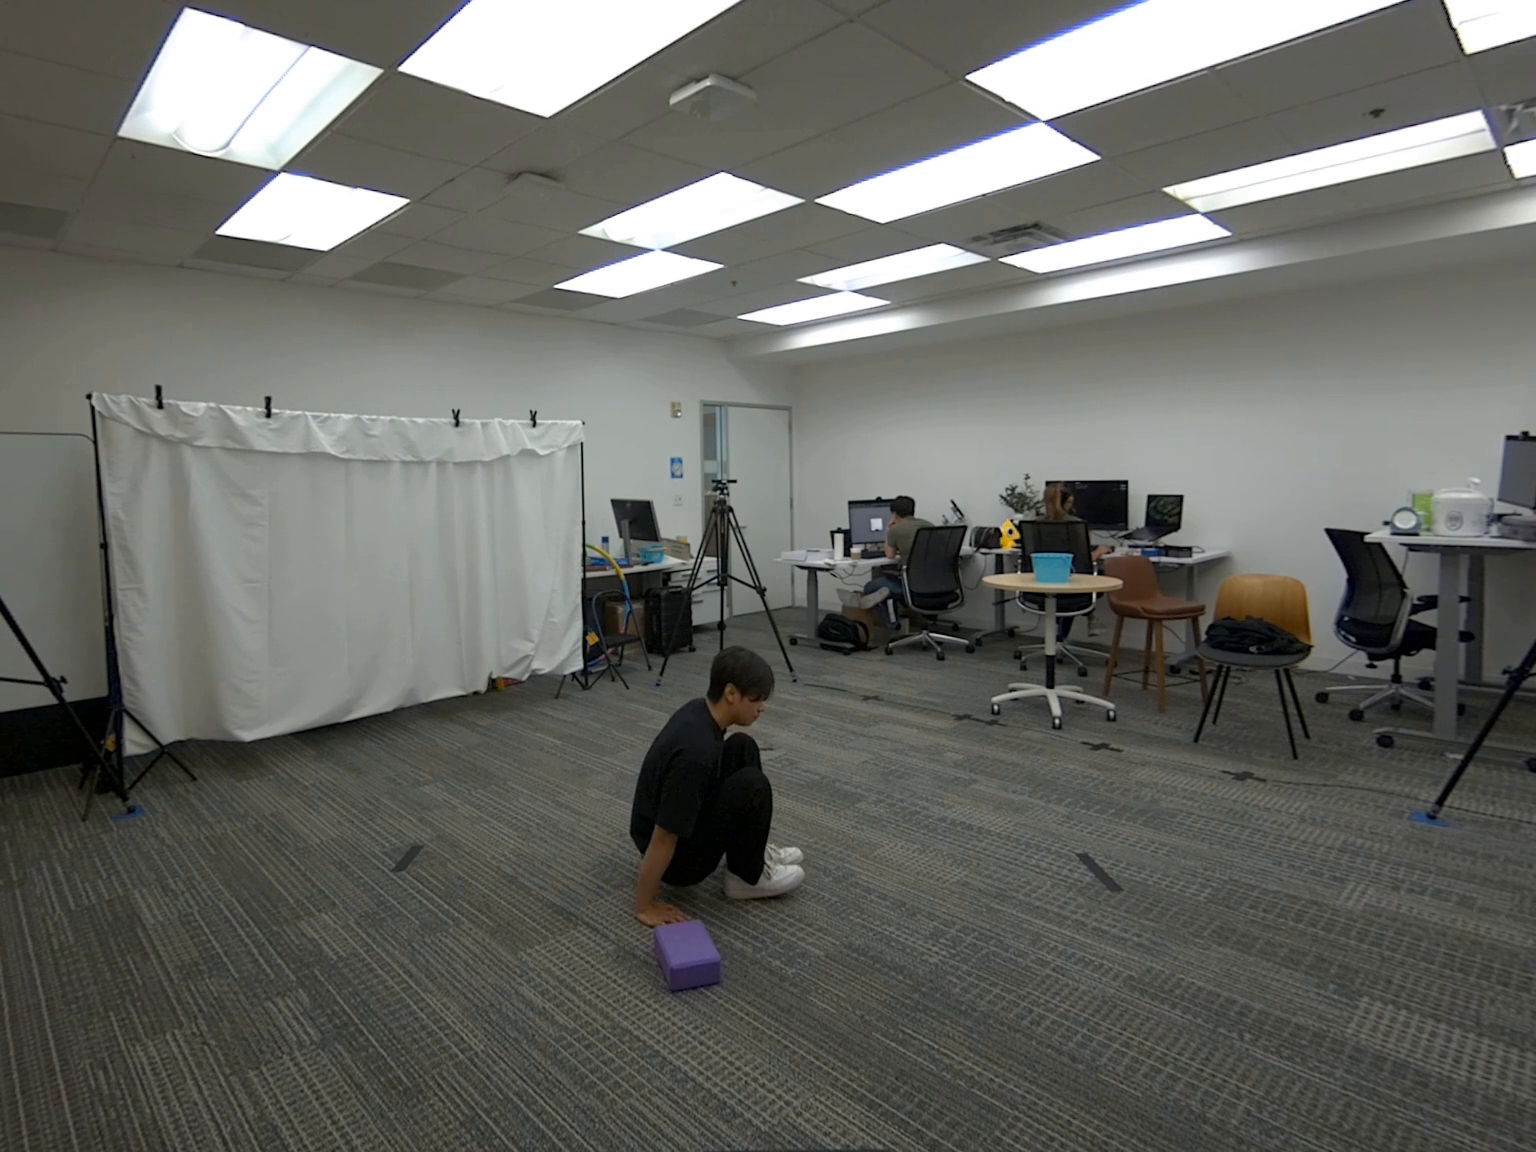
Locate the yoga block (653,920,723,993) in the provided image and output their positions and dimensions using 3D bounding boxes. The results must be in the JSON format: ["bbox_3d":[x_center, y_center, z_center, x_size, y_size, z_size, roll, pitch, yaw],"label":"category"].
[{"bbox_3d":[-0.234,1.092,2.461,0.147,0.076,0.234,-3,6,-17],"label":"yoga block"}]
